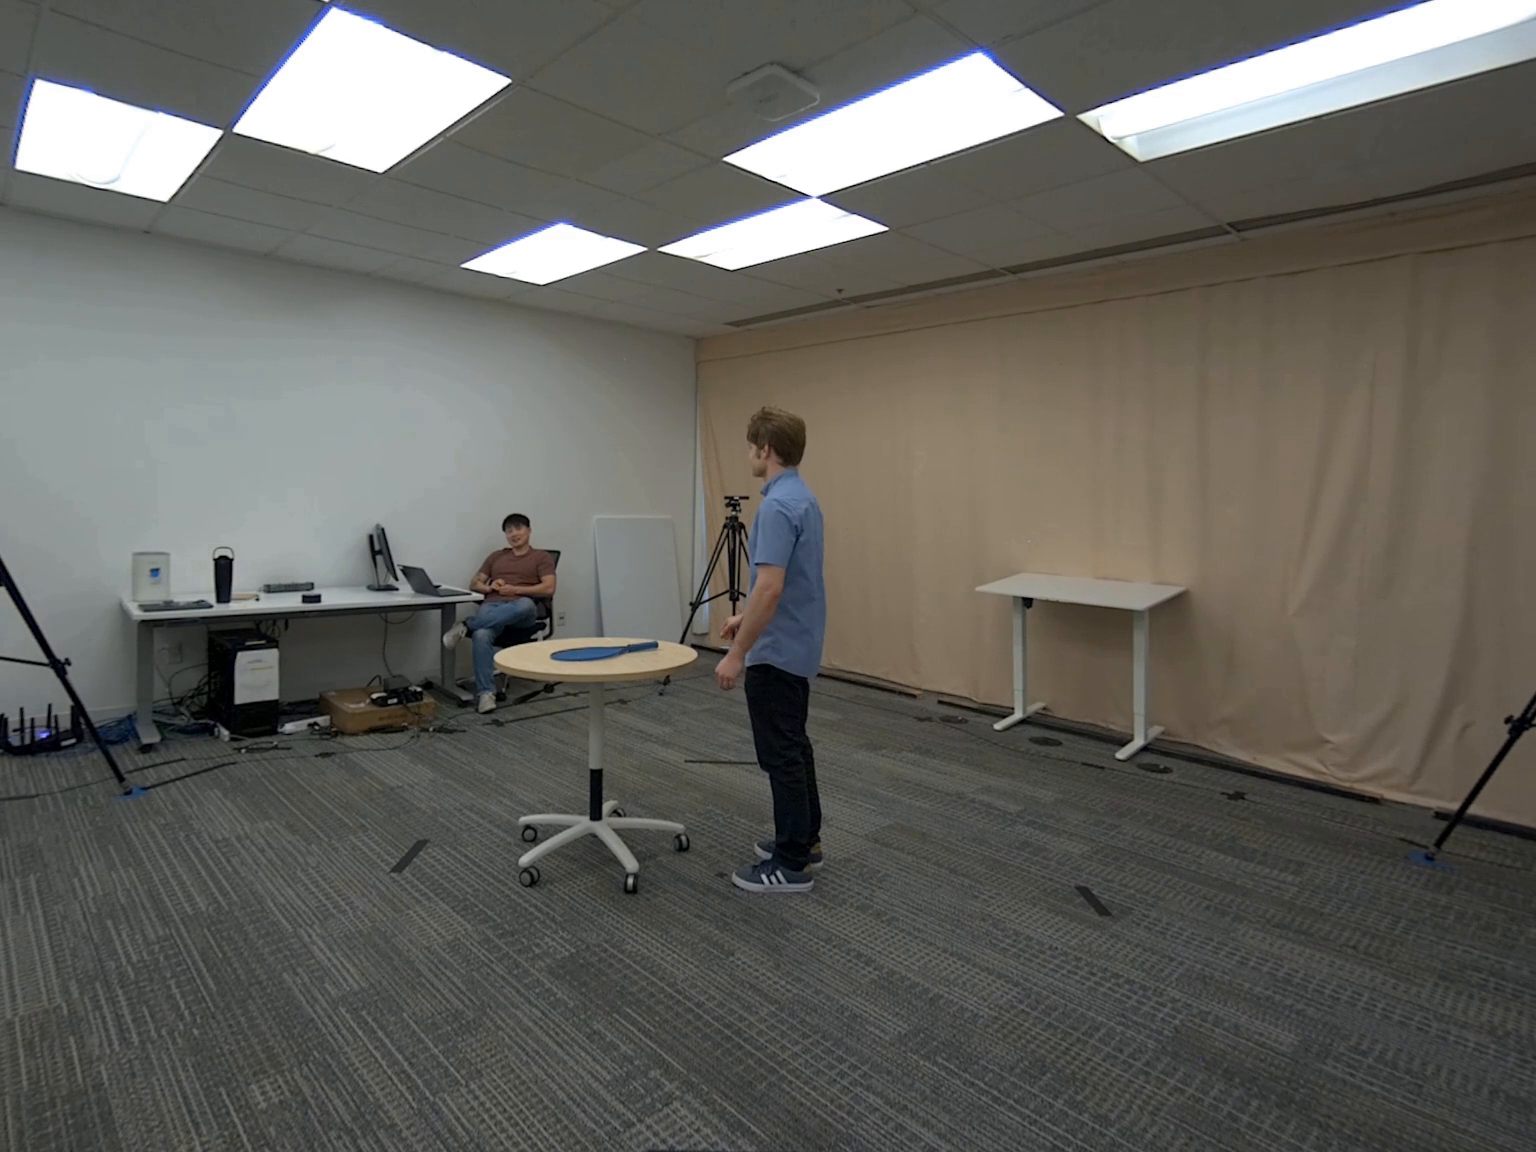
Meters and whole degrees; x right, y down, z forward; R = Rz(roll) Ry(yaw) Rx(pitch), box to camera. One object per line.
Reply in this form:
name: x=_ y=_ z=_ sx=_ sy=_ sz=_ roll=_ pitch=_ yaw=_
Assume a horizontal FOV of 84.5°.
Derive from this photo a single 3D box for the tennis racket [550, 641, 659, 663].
tennis racket: x=-0.627 y=0.289 z=3.212 sx=0.424 sy=0.031 sz=0.219 roll=-5 pitch=6 yaw=-34
